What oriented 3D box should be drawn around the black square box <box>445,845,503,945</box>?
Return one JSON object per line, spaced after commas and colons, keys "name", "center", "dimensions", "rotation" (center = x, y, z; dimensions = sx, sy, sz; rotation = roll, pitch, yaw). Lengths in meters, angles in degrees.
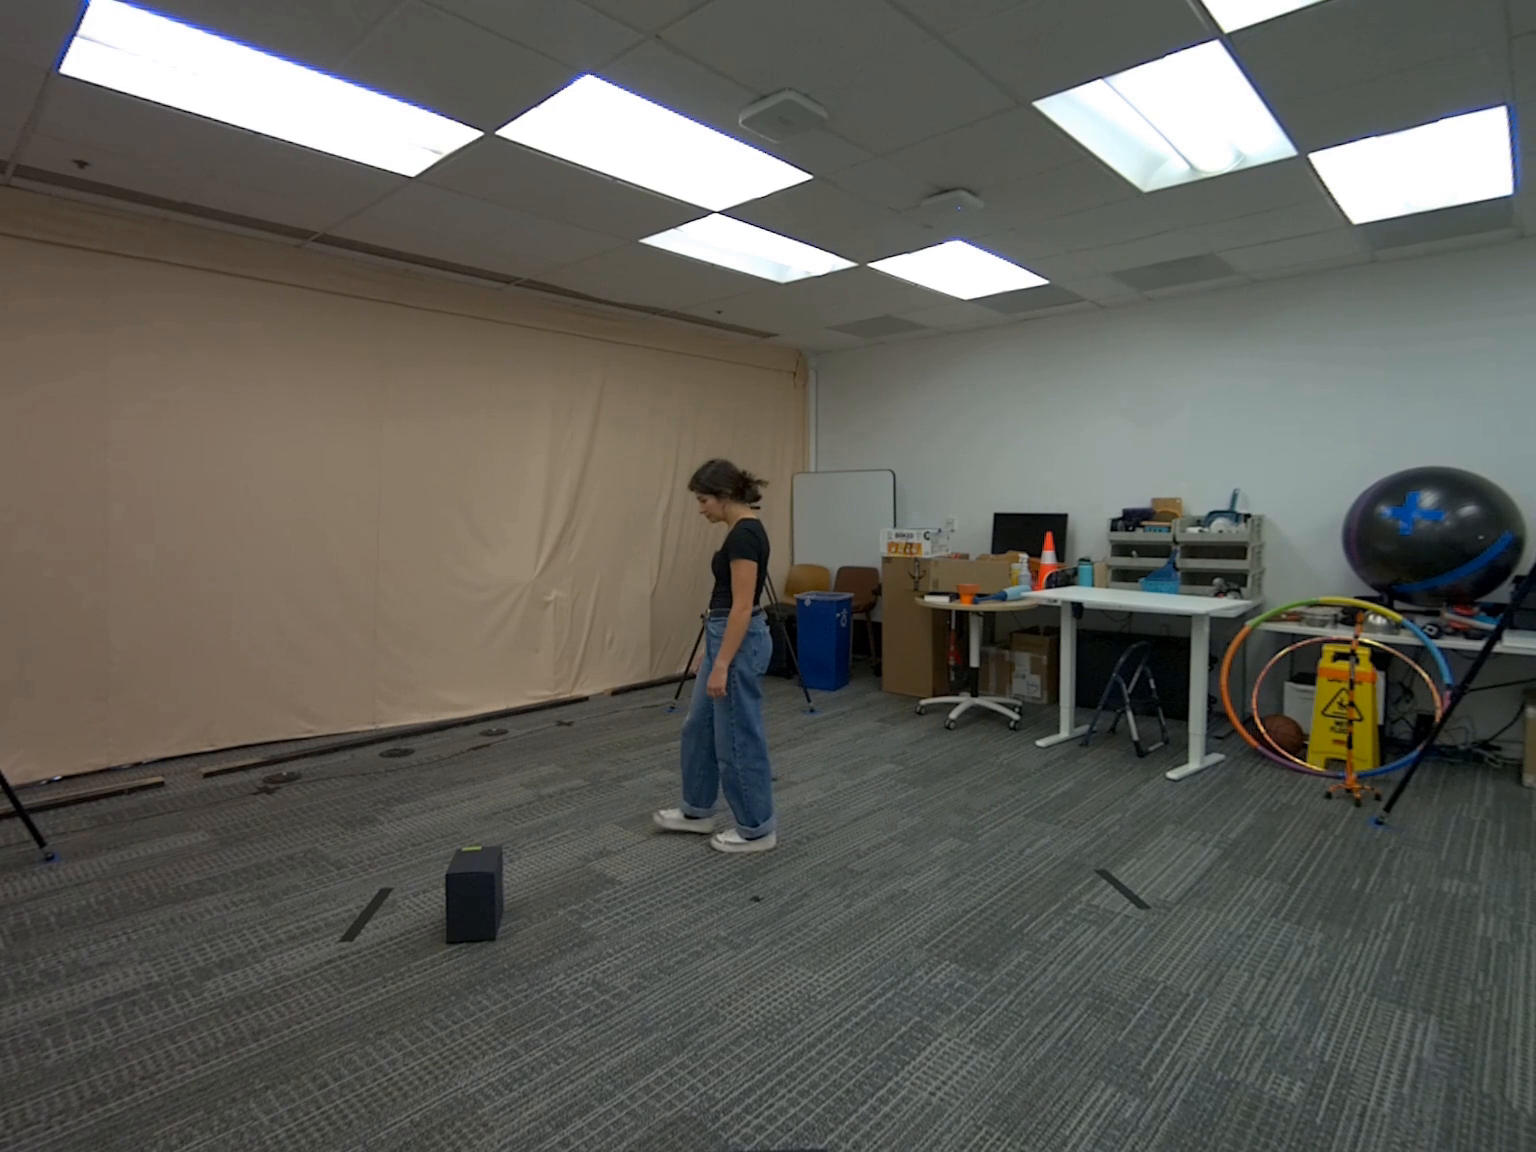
{"name": "black square box", "center": [-0.971, 1.048, 2.789], "dimensions": [0.154, 0.227, 0.219], "rotation": [0, 3, -10]}
